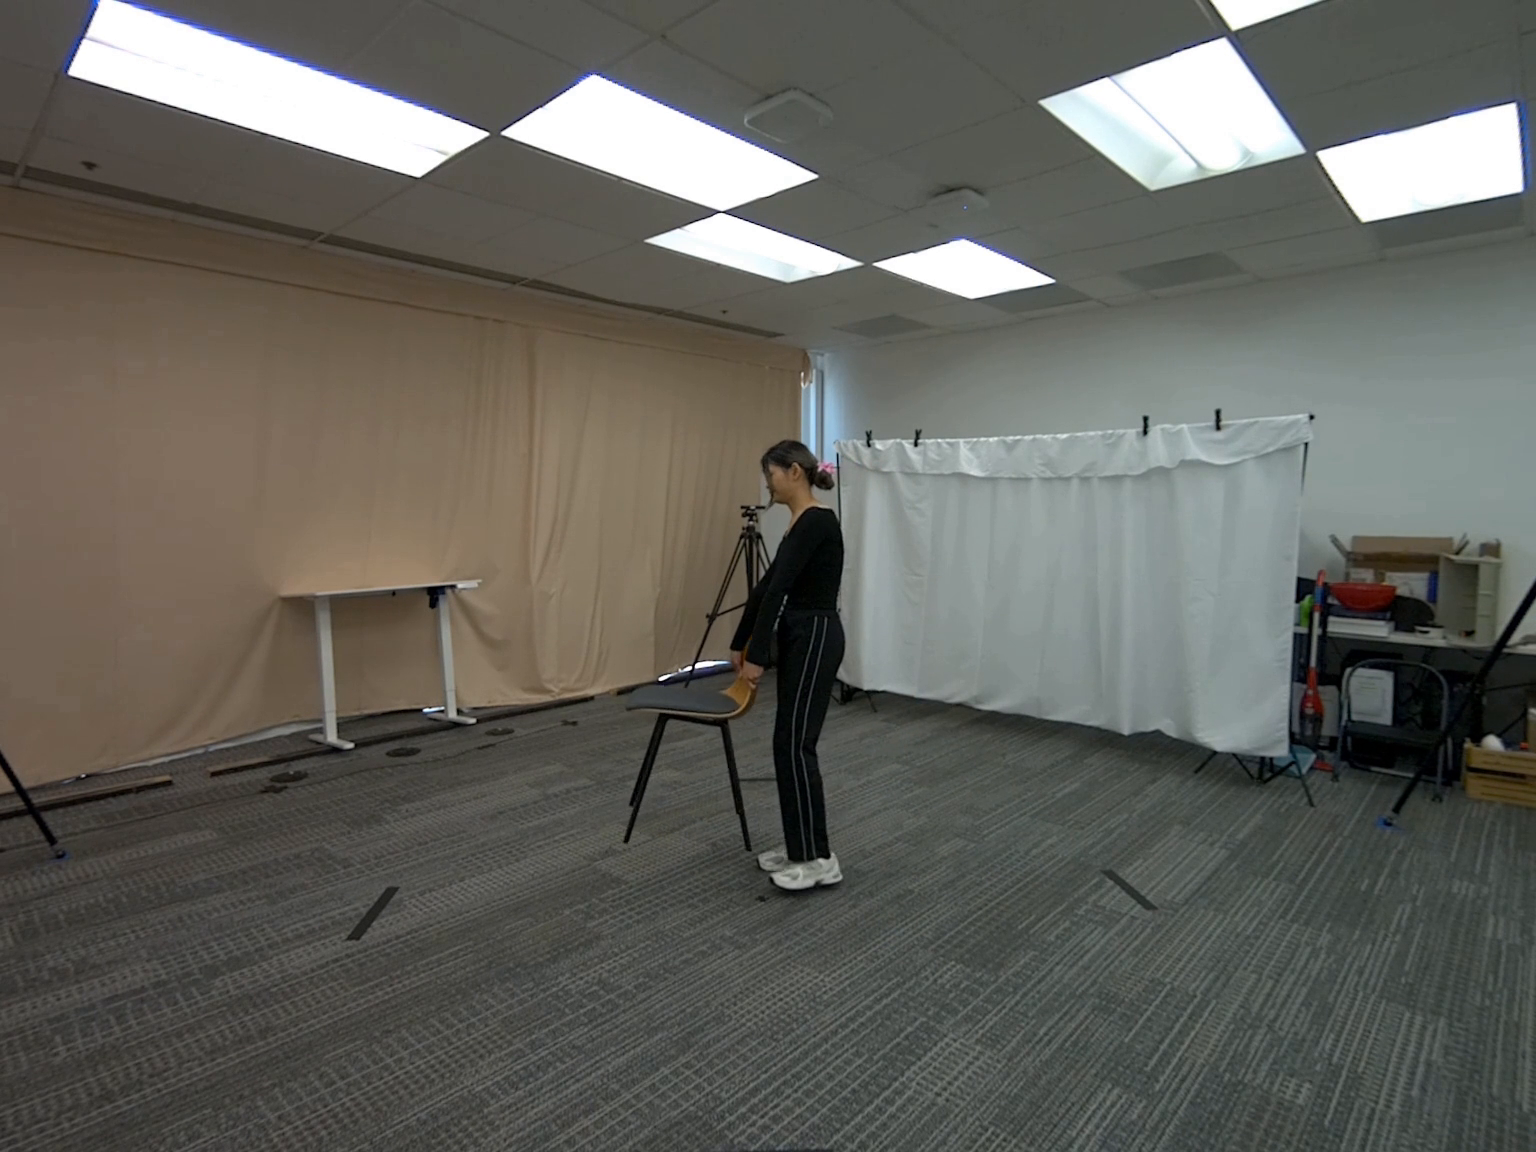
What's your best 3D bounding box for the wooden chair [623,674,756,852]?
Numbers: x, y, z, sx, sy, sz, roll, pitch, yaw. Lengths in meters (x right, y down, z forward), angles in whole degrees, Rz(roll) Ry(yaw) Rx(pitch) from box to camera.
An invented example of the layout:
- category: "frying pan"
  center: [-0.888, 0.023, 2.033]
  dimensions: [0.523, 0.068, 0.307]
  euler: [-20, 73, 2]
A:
- category: "wooden chair"
  center: [-0.282, 0.529, 3.186]
  dimensions: [0.520, 0.877, 0.481]
  euler: [9, 0, -6]
